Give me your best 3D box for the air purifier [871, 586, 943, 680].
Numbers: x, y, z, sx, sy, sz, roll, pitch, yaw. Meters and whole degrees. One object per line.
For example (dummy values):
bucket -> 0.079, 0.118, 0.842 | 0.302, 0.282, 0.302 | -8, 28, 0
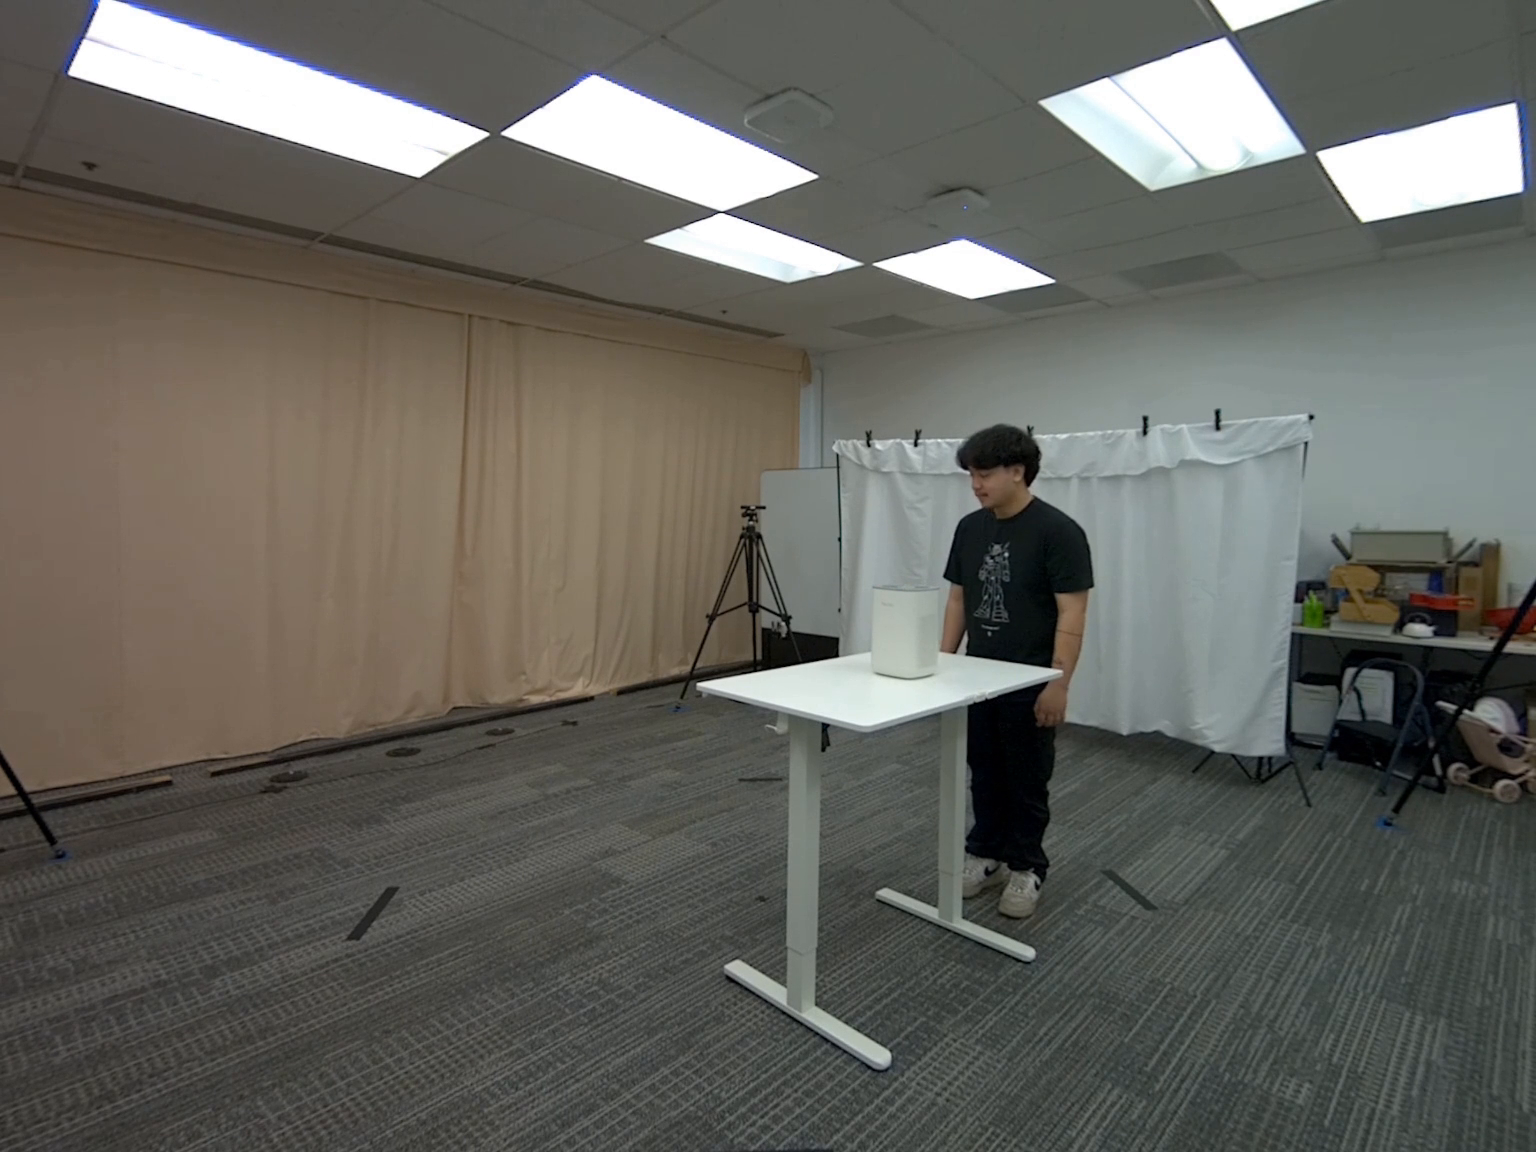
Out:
air purifier -> 0.419, 0.161, 2.539 | 0.177, 0.264, 0.166 | 4, 6, 44
